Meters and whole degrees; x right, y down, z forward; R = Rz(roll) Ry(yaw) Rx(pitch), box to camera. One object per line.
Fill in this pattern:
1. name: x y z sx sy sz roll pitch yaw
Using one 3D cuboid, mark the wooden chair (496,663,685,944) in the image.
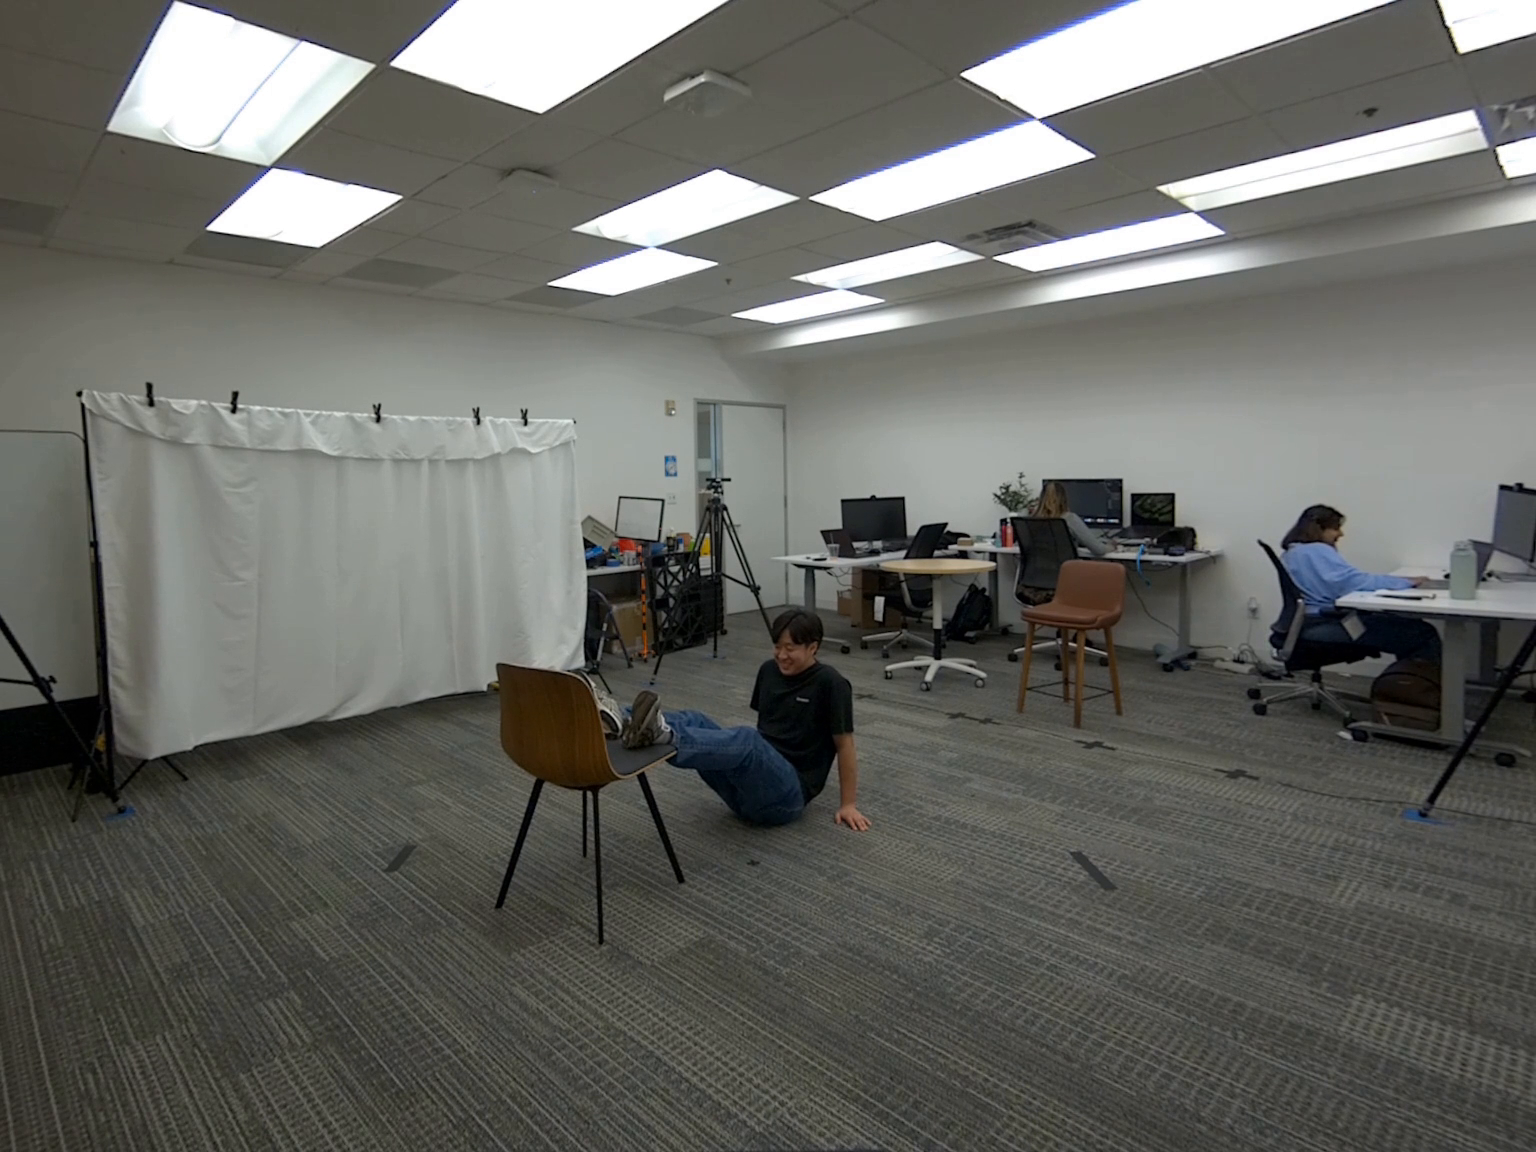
1. wooden chair: -0.593 0.654 2.854 0.491 0.871 0.513 2 9 30
